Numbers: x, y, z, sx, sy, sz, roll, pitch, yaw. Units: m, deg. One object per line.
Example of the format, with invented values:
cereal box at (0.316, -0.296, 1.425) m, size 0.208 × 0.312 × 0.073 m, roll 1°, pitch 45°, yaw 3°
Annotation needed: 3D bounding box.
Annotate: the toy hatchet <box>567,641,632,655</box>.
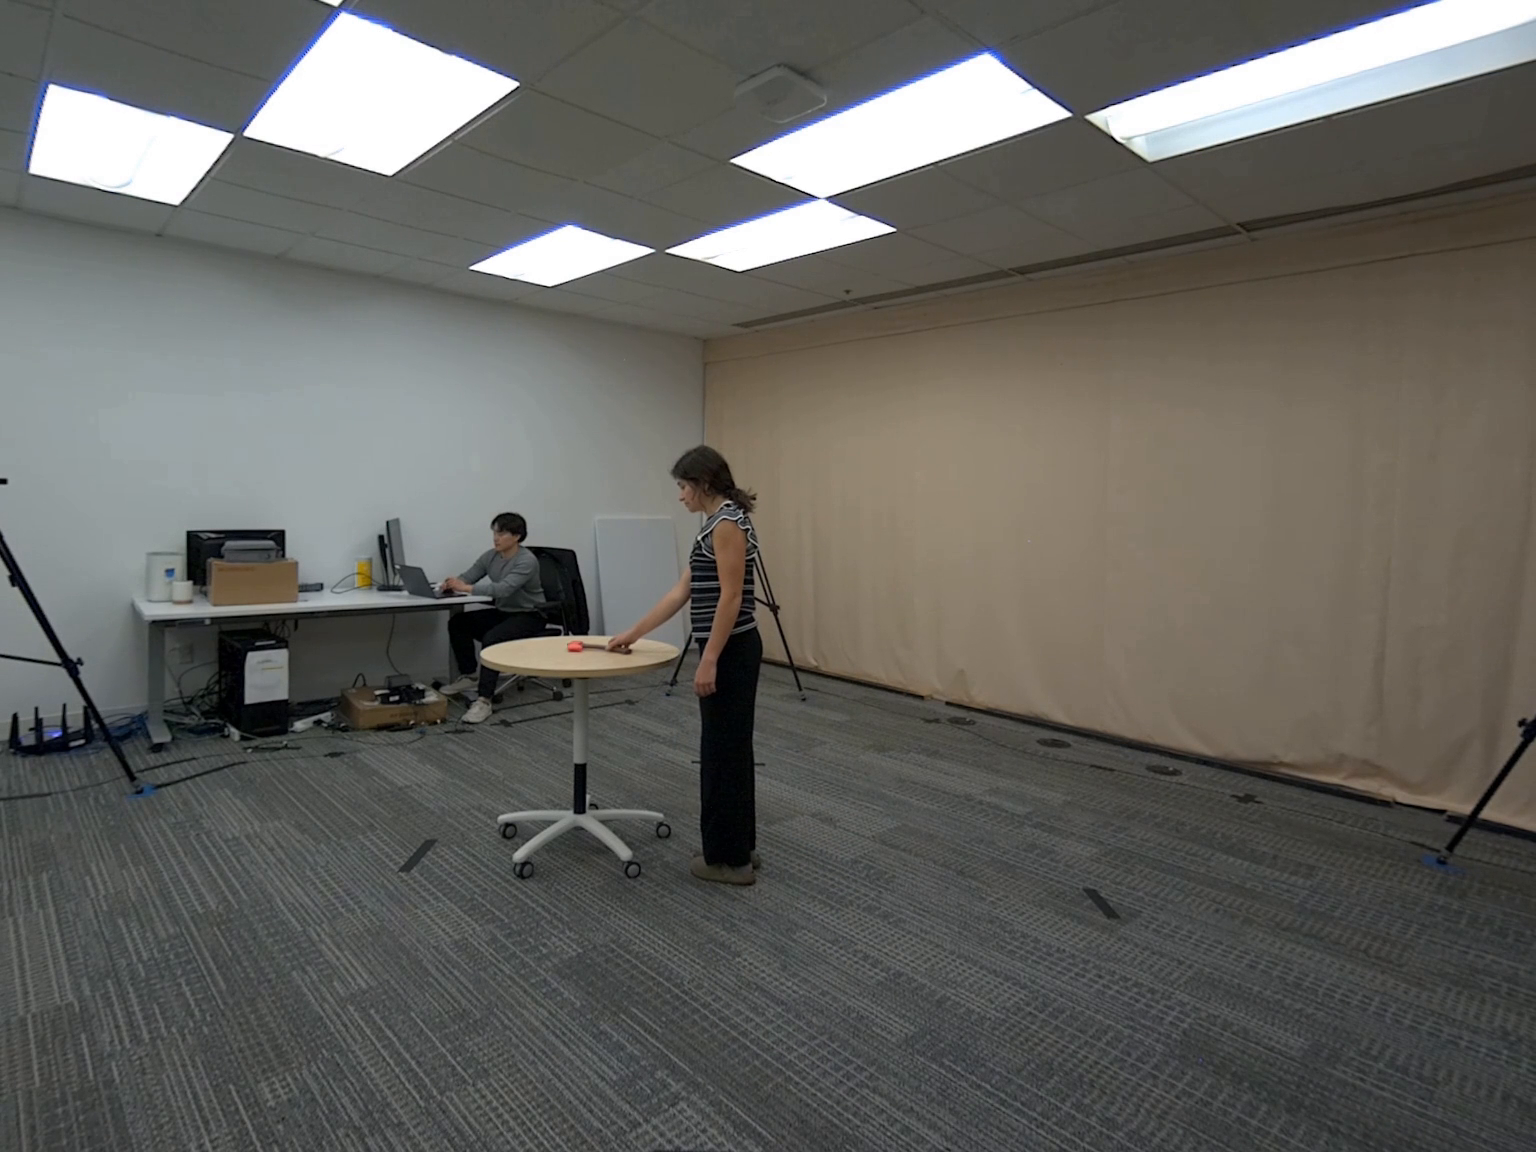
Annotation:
toy hatchet at (-0.672, 0.282, 3.275) m, size 0.276 × 0.029 × 0.128 m, roll 5°, pitch 5°, yaw 31°
